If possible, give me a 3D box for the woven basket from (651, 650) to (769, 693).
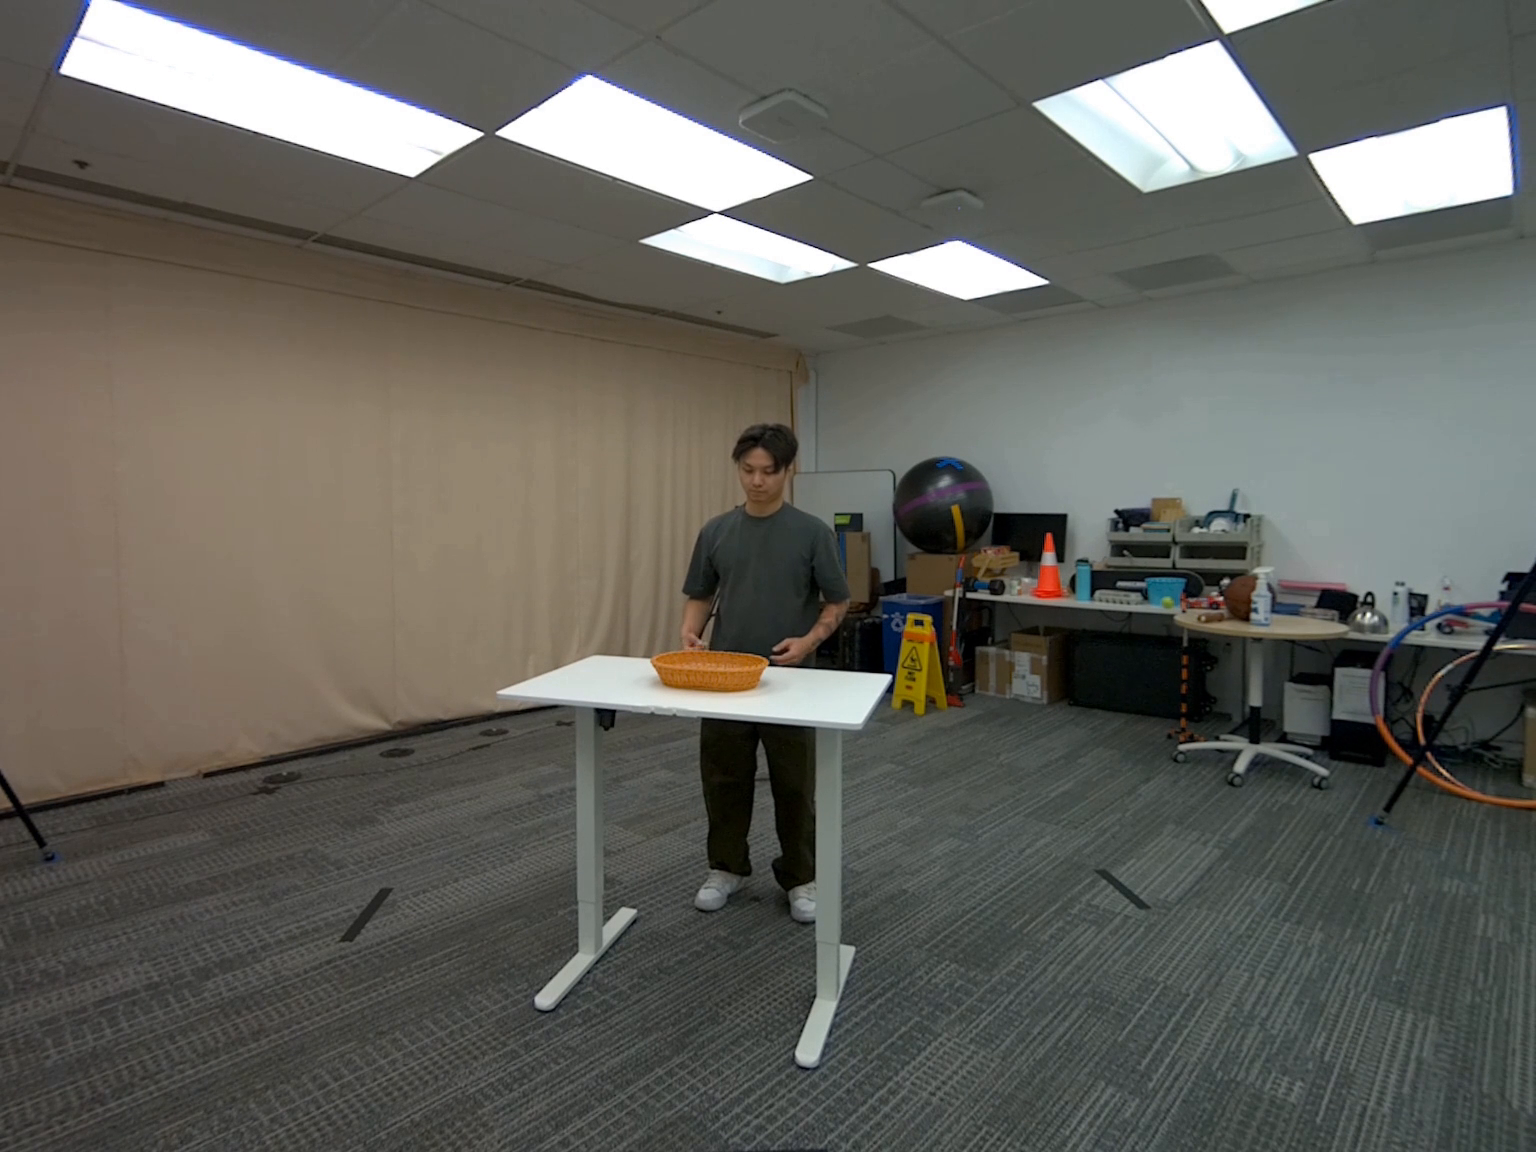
[{"bbox_3d":[-0.170,0.282,2.413,0.359,0.073,0.247,2,6,23],"label":"woven basket"}]
